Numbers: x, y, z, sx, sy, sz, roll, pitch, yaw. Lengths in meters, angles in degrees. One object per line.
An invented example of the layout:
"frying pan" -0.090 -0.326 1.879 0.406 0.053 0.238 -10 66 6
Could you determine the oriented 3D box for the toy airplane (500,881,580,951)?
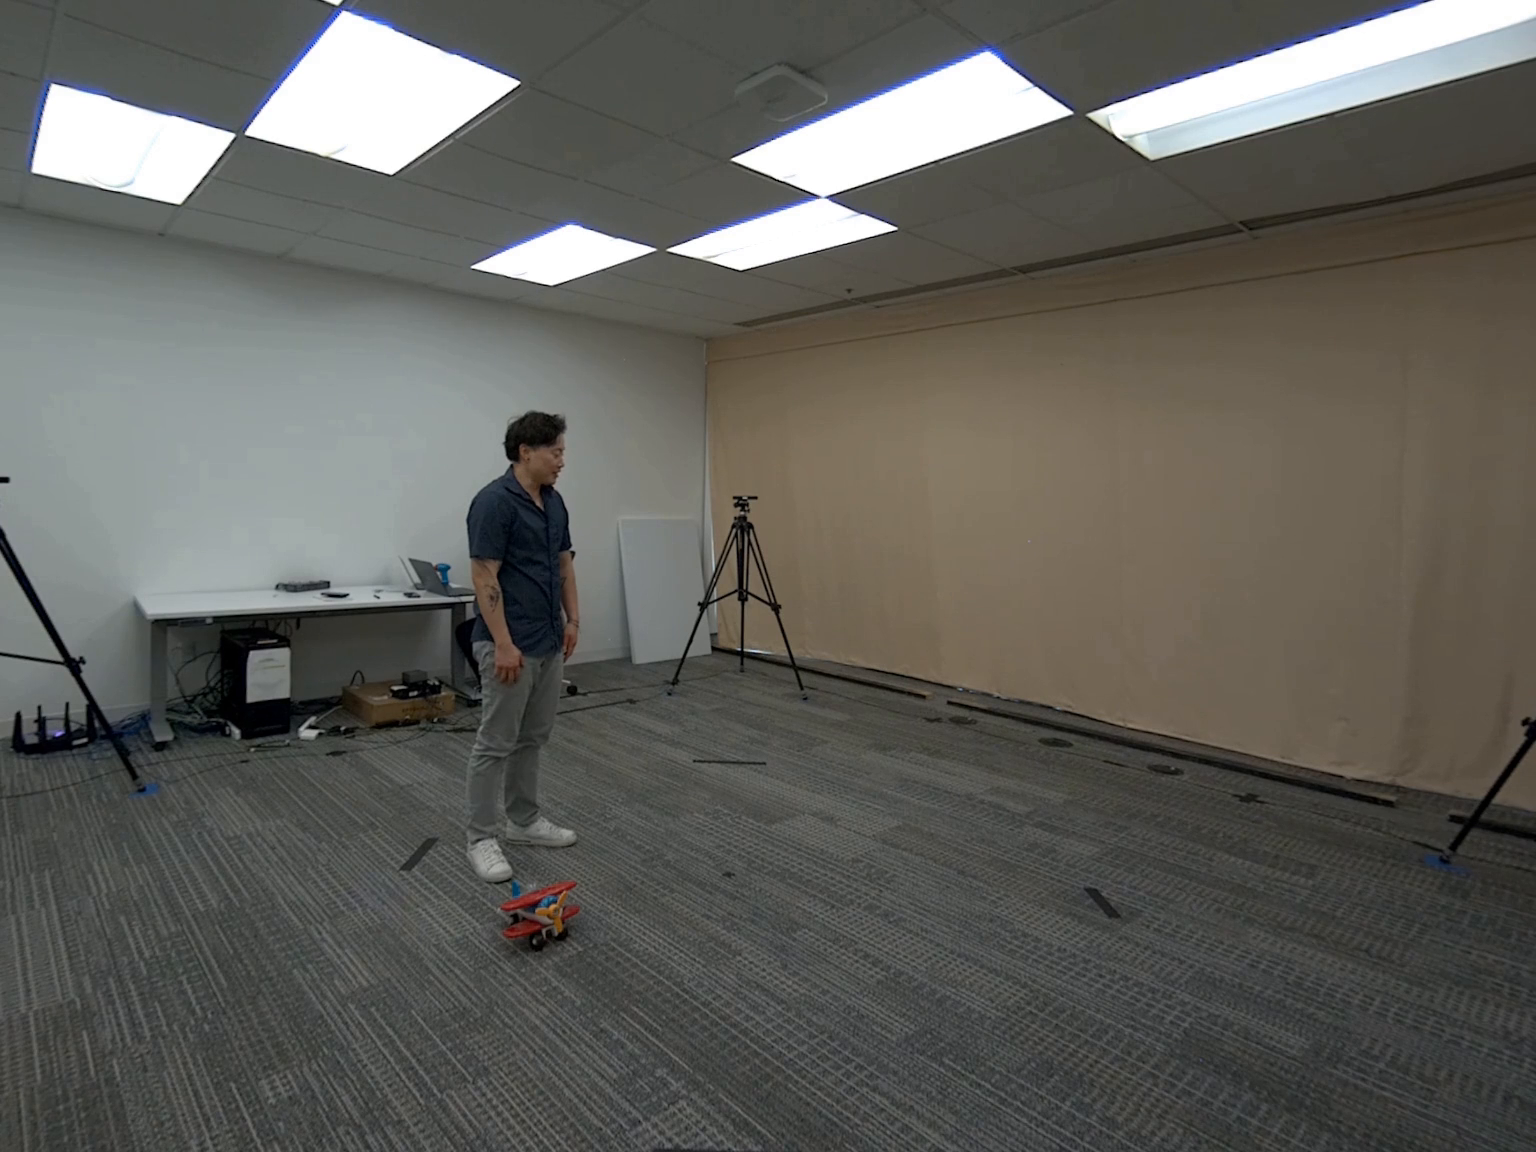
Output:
"toy airplane" -0.750 1.058 2.636 0.263 0.156 0.248 3 6 17
